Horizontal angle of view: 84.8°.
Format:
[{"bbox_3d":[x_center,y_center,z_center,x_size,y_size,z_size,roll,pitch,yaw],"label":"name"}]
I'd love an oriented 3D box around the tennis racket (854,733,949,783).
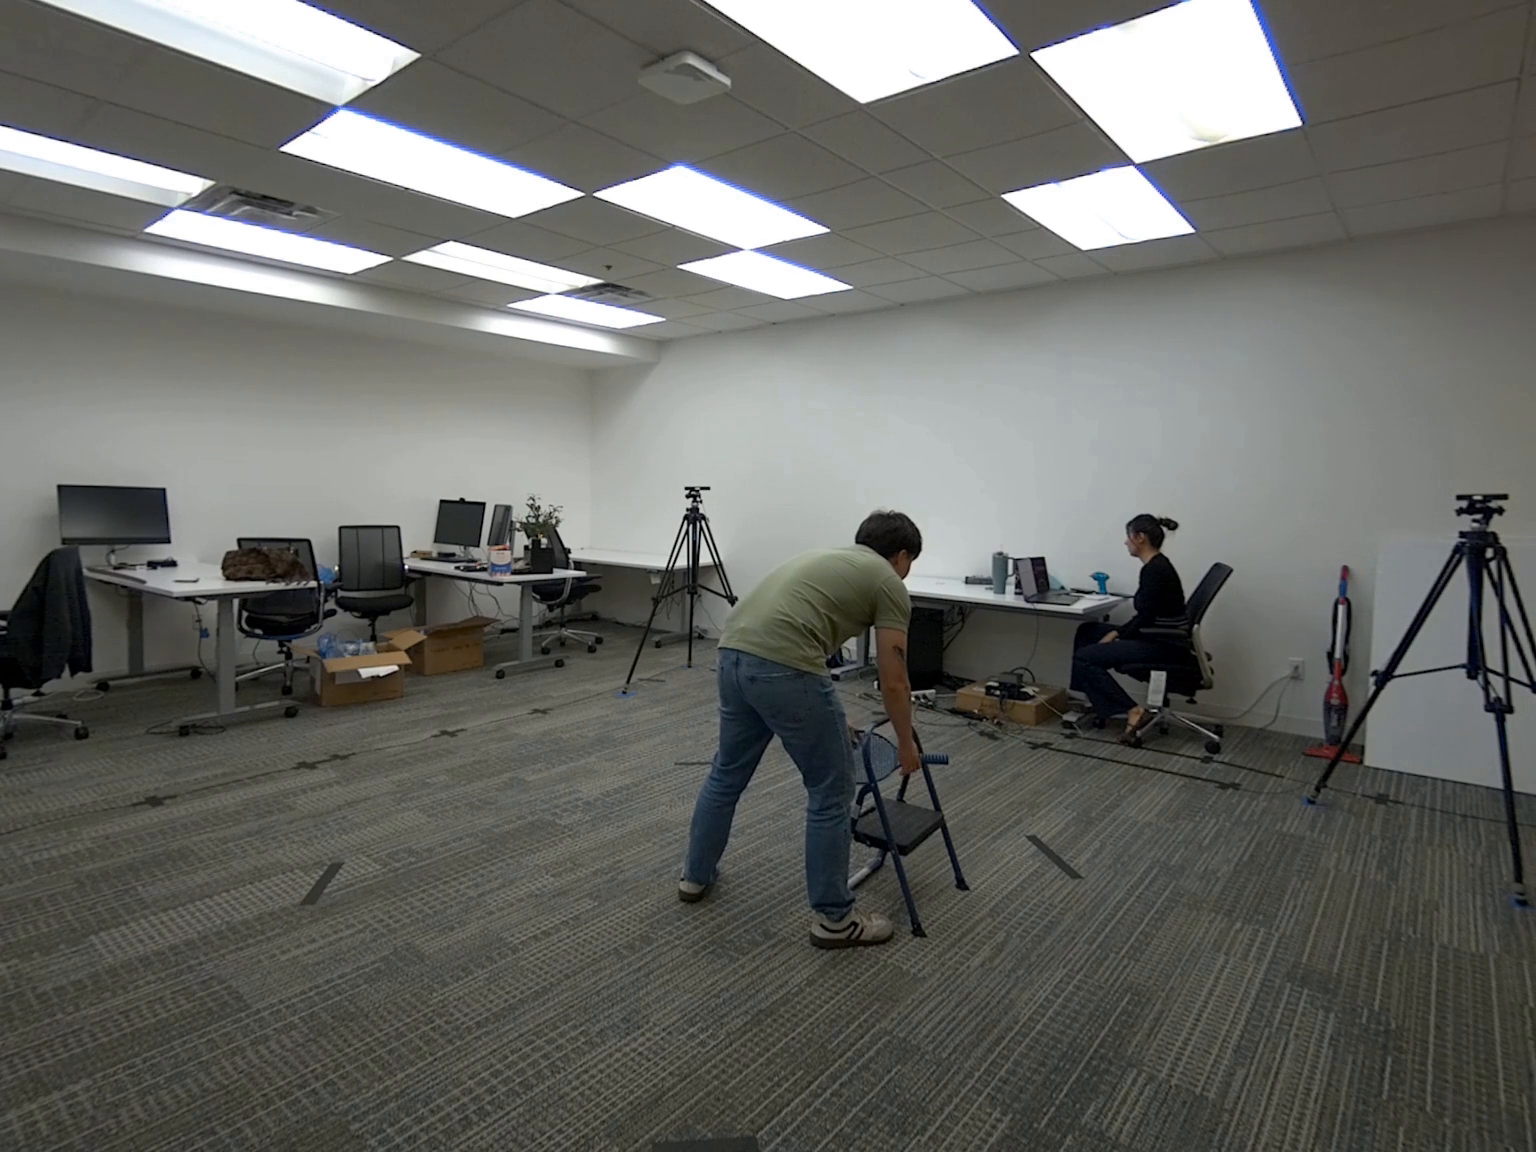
[{"bbox_3d":[0.369,0.627,2.889,0.437,0.031,0.219,0,46,9],"label":"tennis racket"}]
